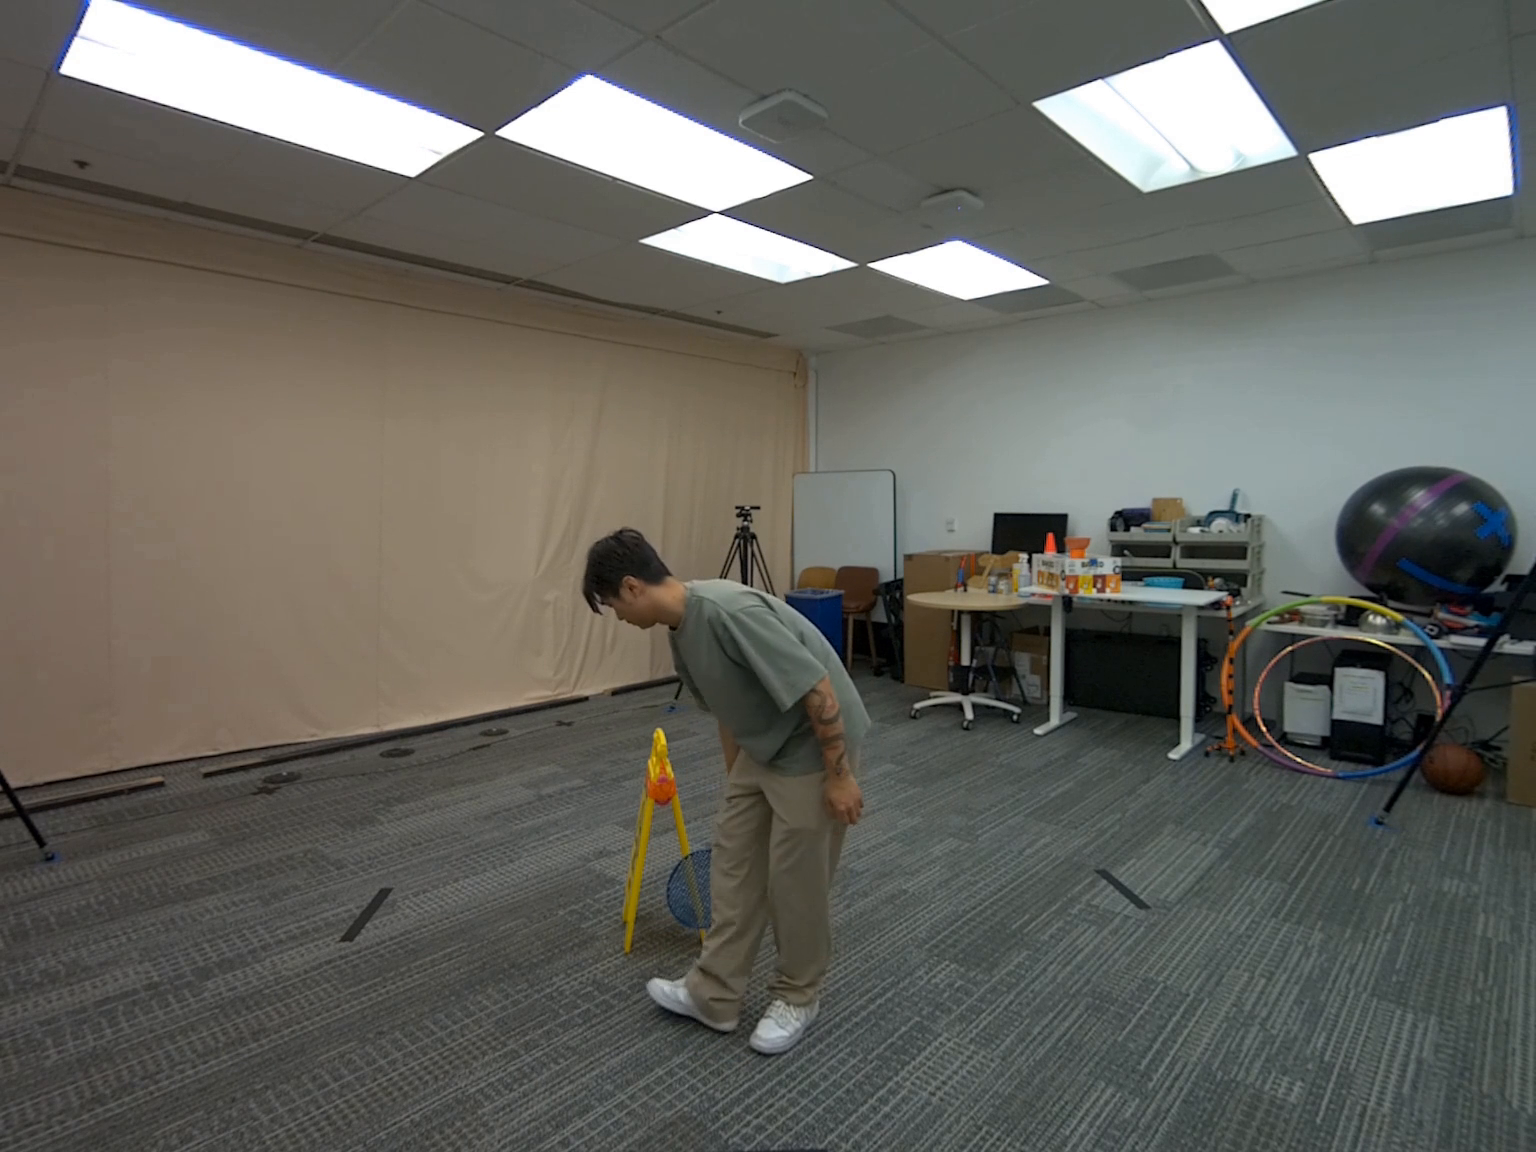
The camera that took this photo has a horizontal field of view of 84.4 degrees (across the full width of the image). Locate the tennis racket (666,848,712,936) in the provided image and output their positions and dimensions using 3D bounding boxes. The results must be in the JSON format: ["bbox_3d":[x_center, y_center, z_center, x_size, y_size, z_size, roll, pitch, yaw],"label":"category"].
[{"bbox_3d":[-0.160,0.873,2.478,0.213,0.433,0.032,27,5,-2],"label":"tennis racket"}]
